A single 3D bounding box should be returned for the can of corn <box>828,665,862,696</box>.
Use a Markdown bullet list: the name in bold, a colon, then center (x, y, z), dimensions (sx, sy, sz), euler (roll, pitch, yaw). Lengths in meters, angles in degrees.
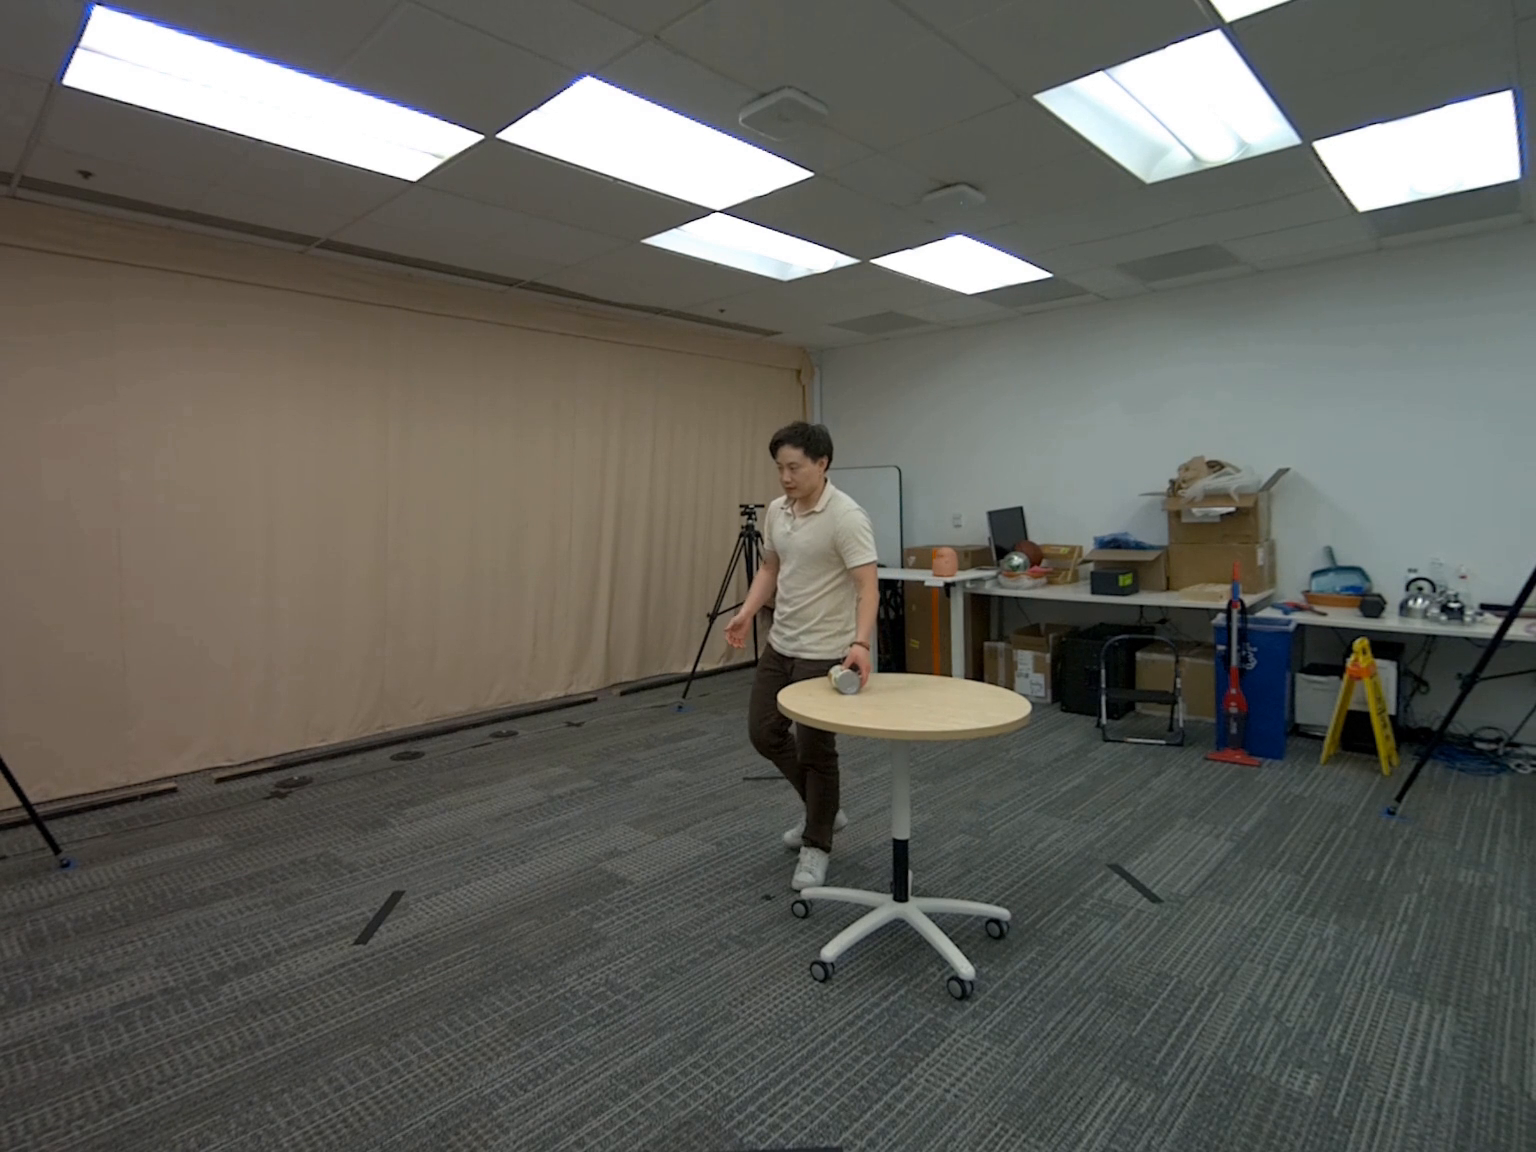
- **can of corn**: center (0.247, 0.333, 2.723), dimensions (0.073, 0.074, 0.112), euler (-1, 5, -8)
